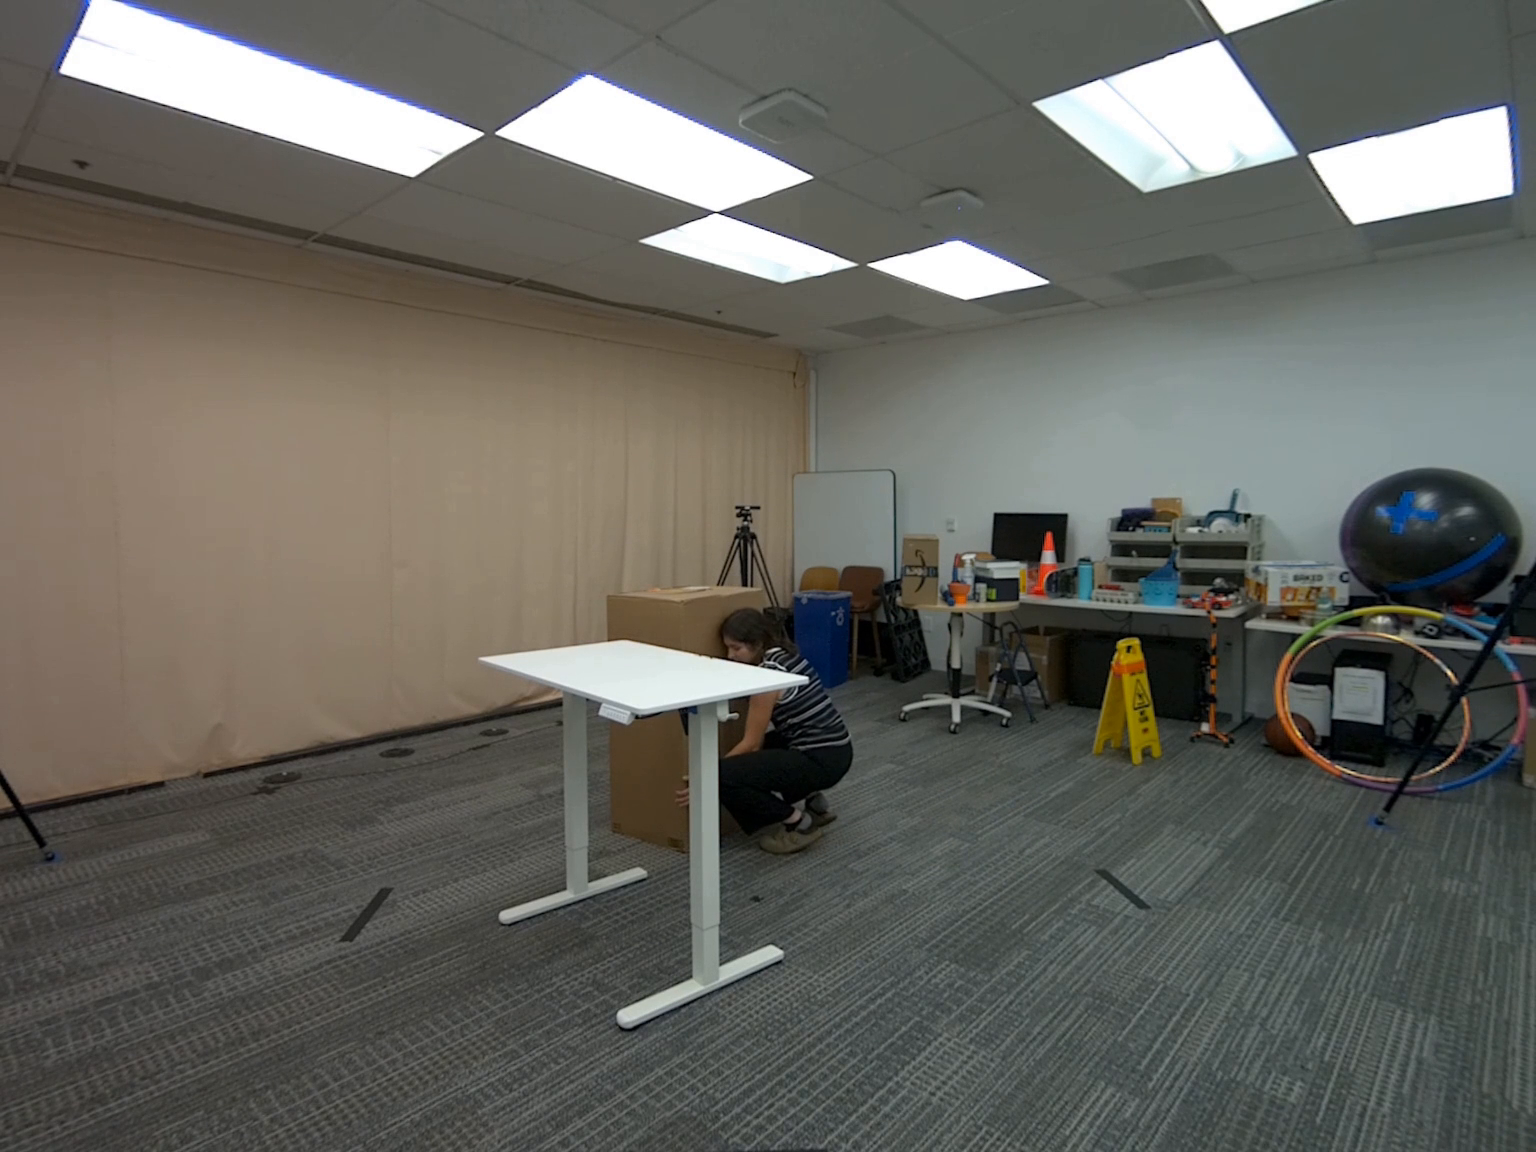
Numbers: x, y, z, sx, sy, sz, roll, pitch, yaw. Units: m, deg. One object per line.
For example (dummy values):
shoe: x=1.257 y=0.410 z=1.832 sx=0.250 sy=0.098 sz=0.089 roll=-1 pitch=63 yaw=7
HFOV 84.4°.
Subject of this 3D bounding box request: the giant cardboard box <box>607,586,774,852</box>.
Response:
giant cardboard box: x=-0.351 y=0.575 z=3.708 sx=0.440 sy=1.024 sz=0.560 roll=1 pitch=3 yaw=36
